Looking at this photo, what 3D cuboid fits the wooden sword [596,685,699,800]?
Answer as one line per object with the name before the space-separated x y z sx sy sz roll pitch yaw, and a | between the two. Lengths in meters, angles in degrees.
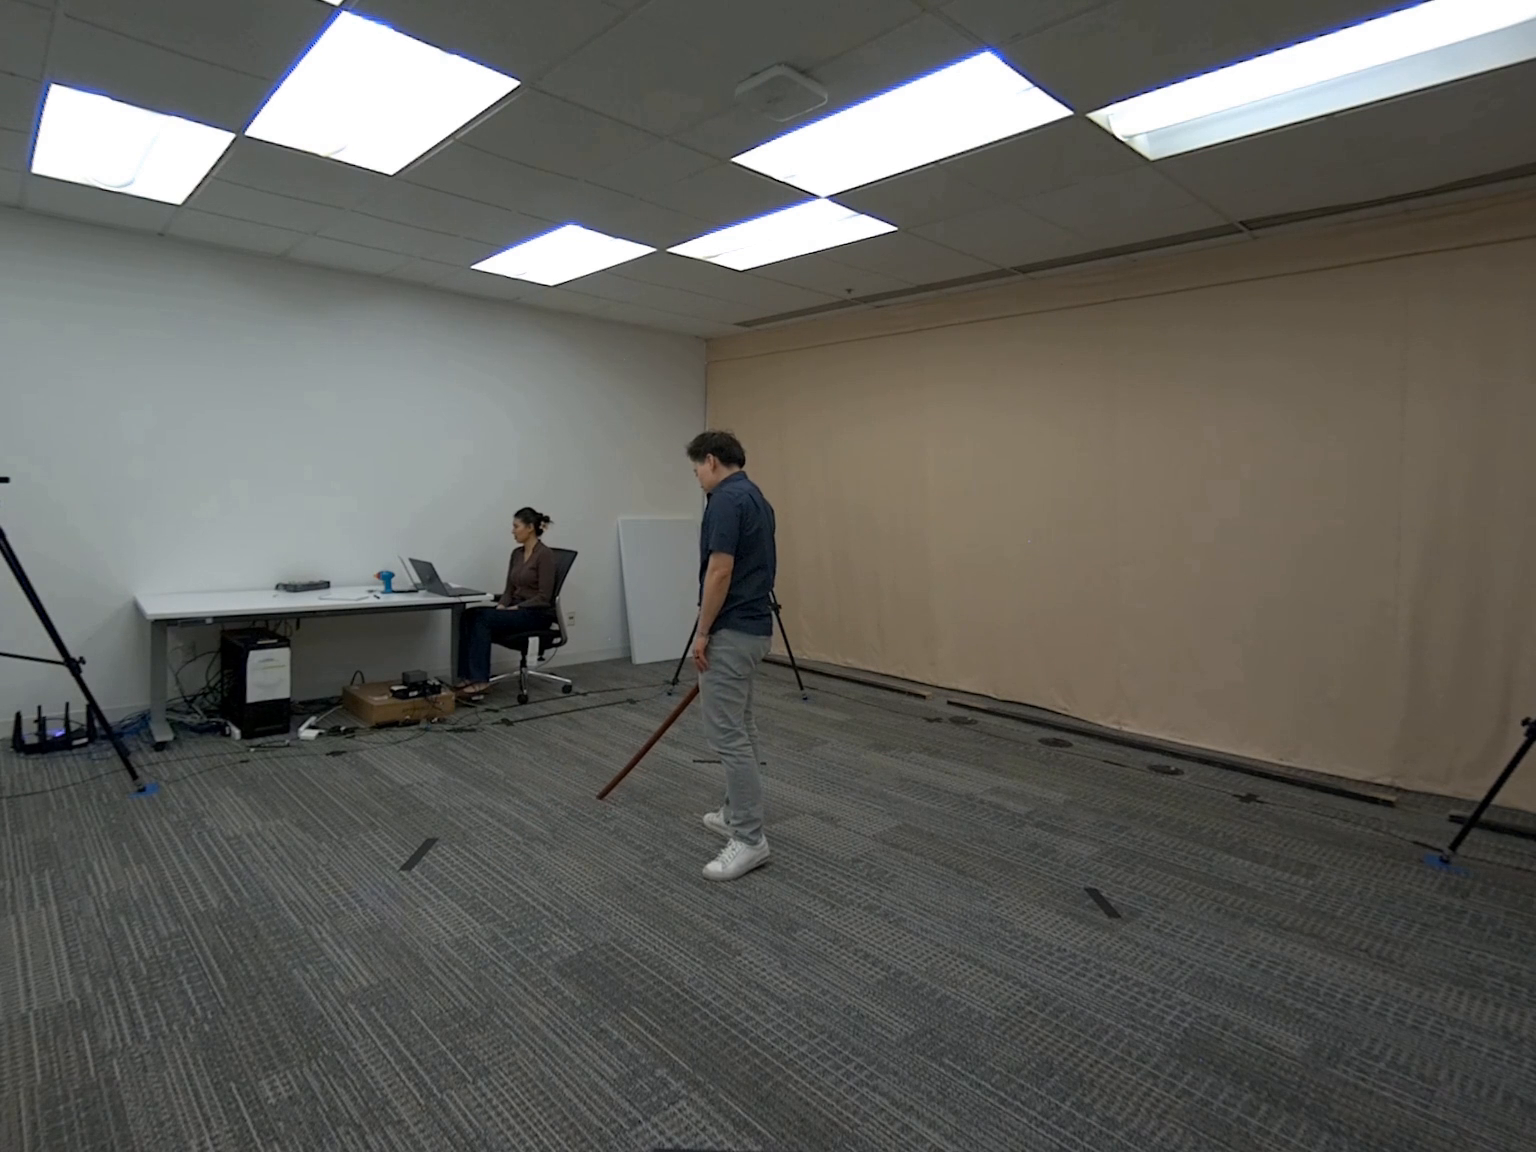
wooden sword | -0.462 0.657 3.752 0.024 1.024 0.052 40 11 -8
